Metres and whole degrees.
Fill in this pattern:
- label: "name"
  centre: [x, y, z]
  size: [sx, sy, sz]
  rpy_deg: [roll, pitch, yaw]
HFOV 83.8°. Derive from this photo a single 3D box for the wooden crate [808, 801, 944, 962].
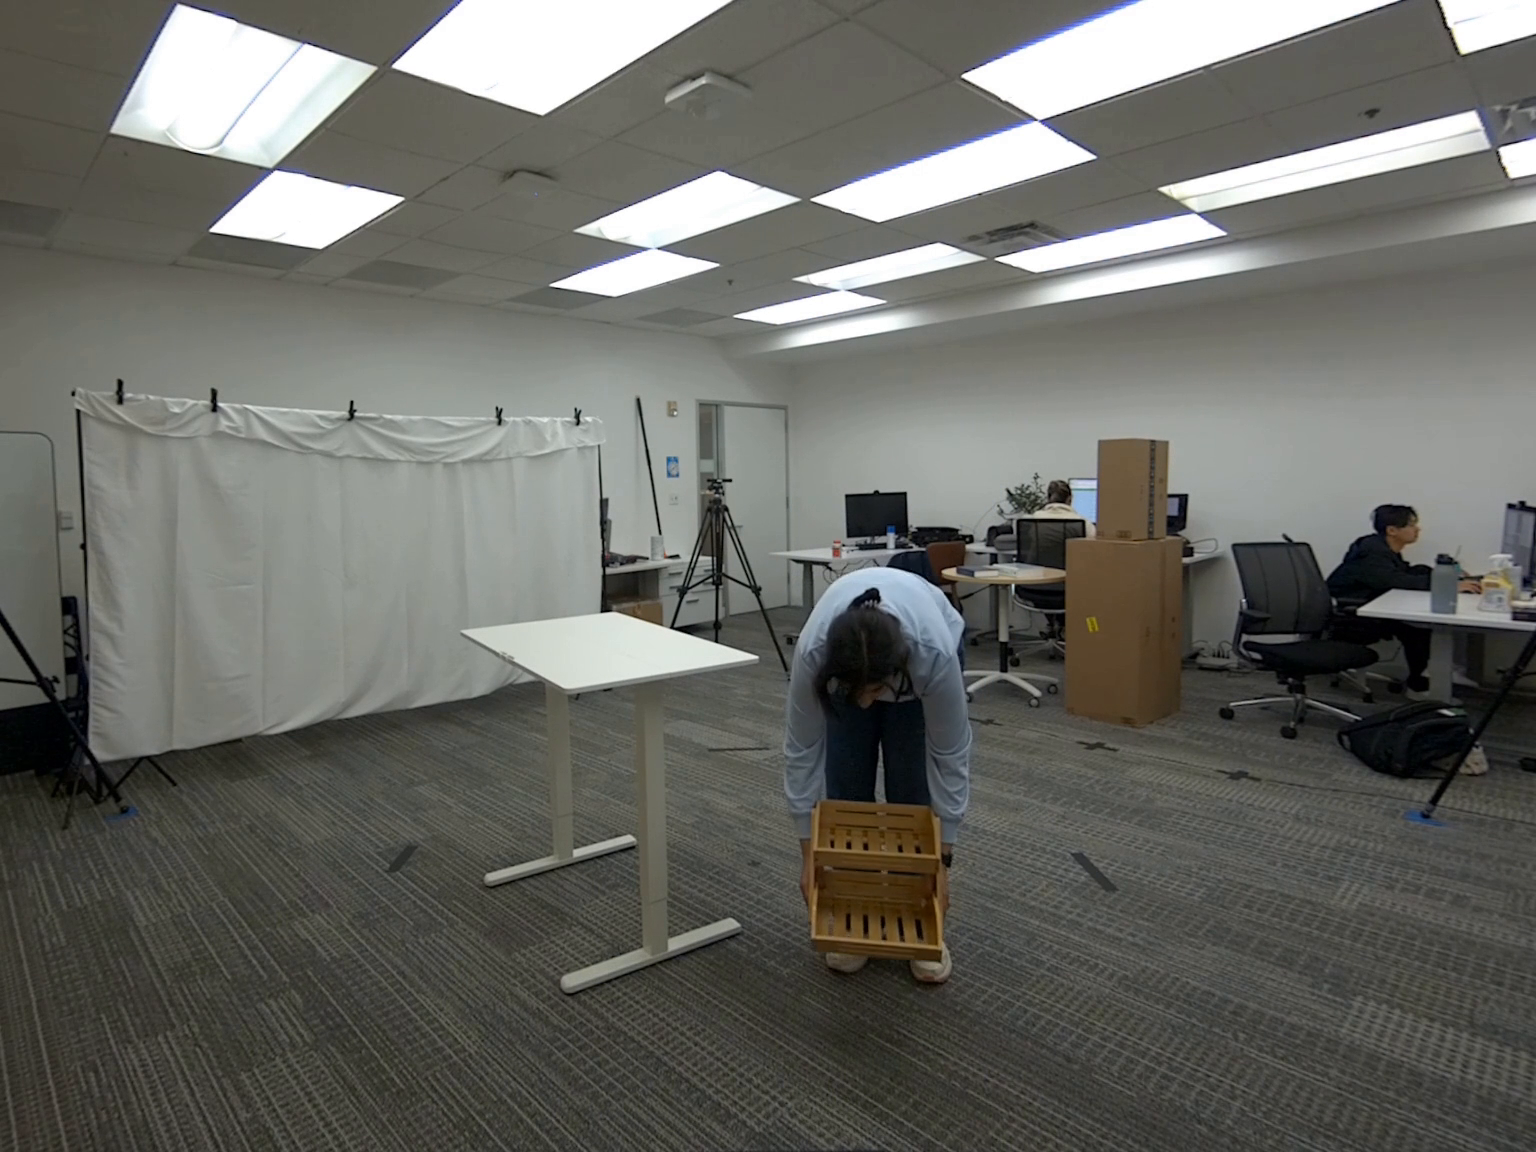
- label: "wooden crate"
  centre: [0.268, 0.744, 2.120]
  size: [0.327, 0.272, 0.301]
  rpy_deg: [0, 6, 7]
